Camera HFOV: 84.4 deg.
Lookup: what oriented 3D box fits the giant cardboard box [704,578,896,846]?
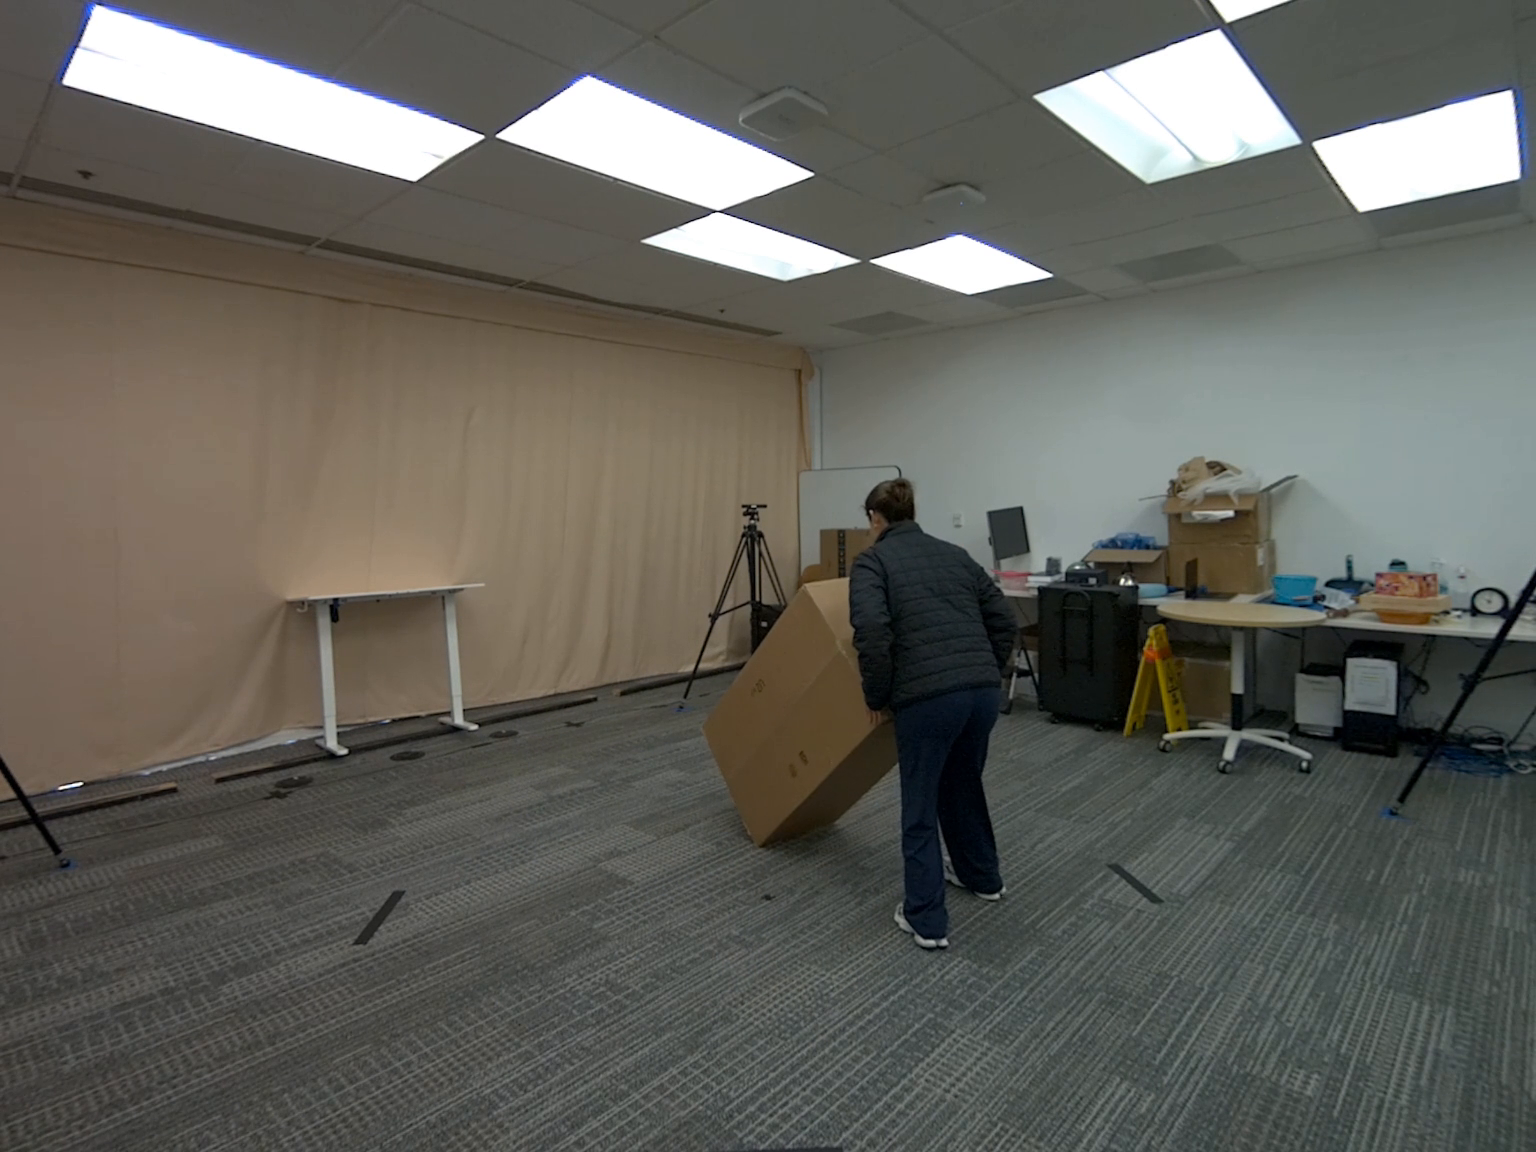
[{"bbox_3d":[0.220,0.548,3.354,0.434,0.600,1.028,-4,-37,-36],"label":"giant cardboard box"}]
